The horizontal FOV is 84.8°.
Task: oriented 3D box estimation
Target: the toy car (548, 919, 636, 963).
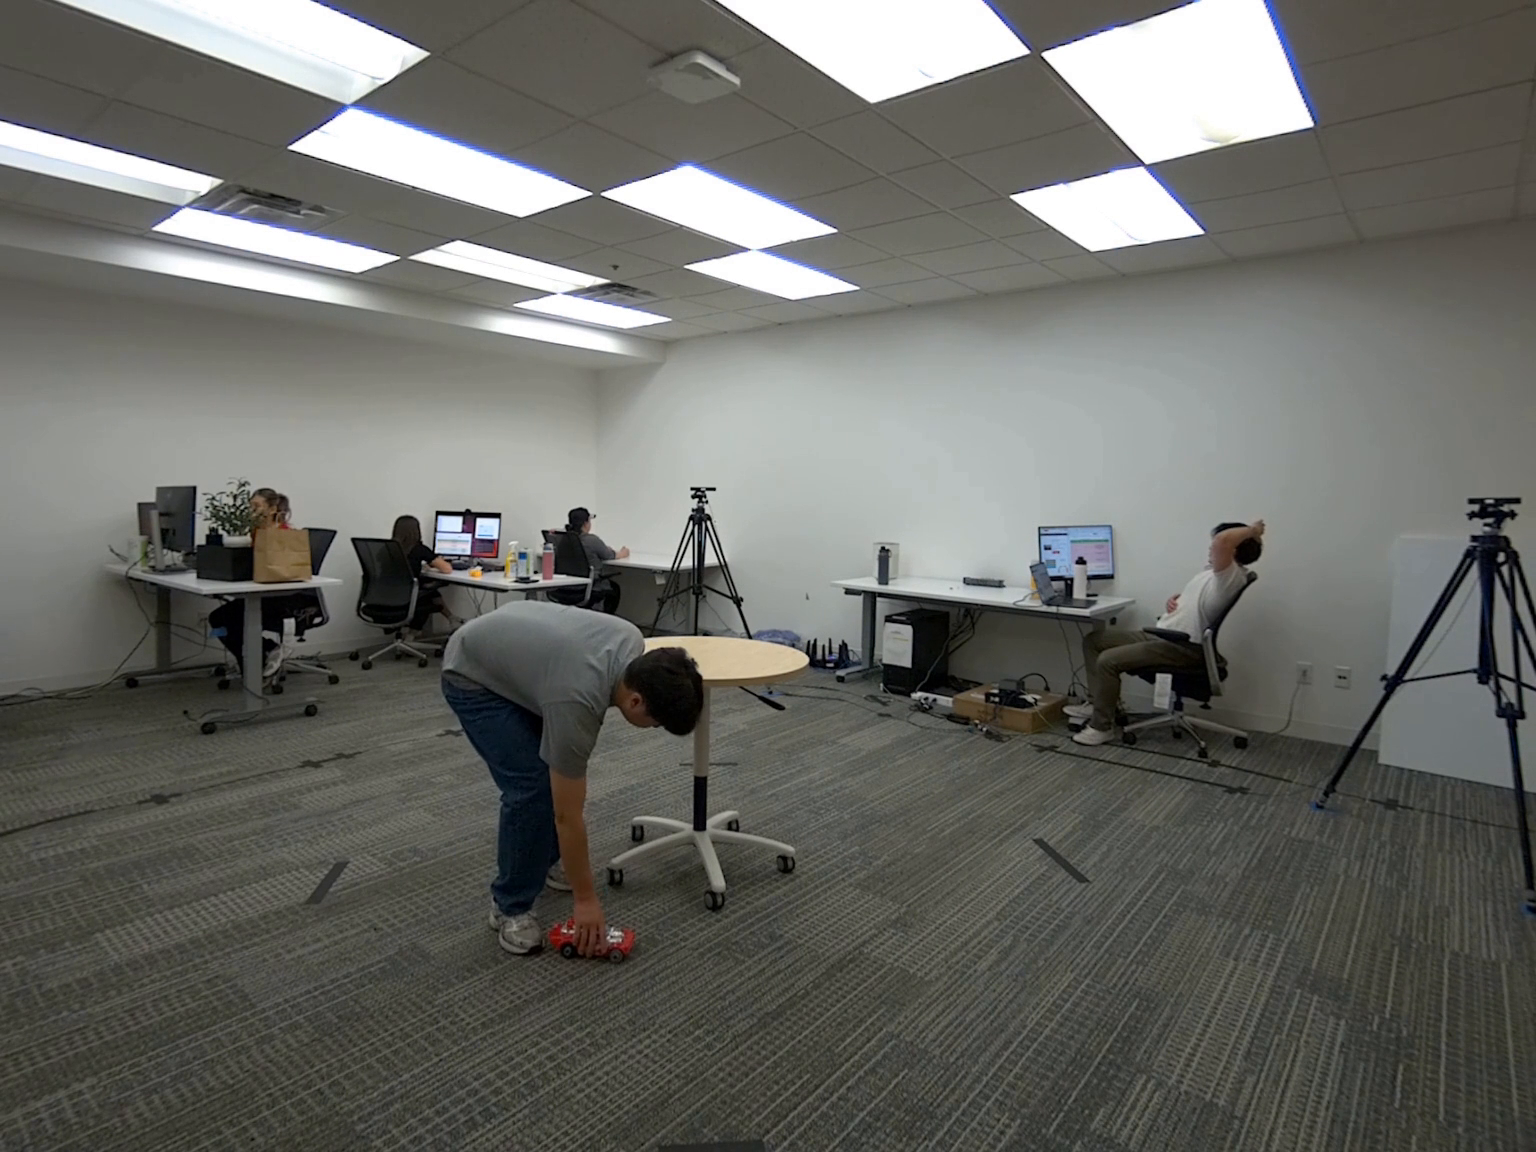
[{"bbox_3d":[-0.542,1.081,2.538,0.256,0.083,0.130,12,6,5],"label":"toy car"}]
